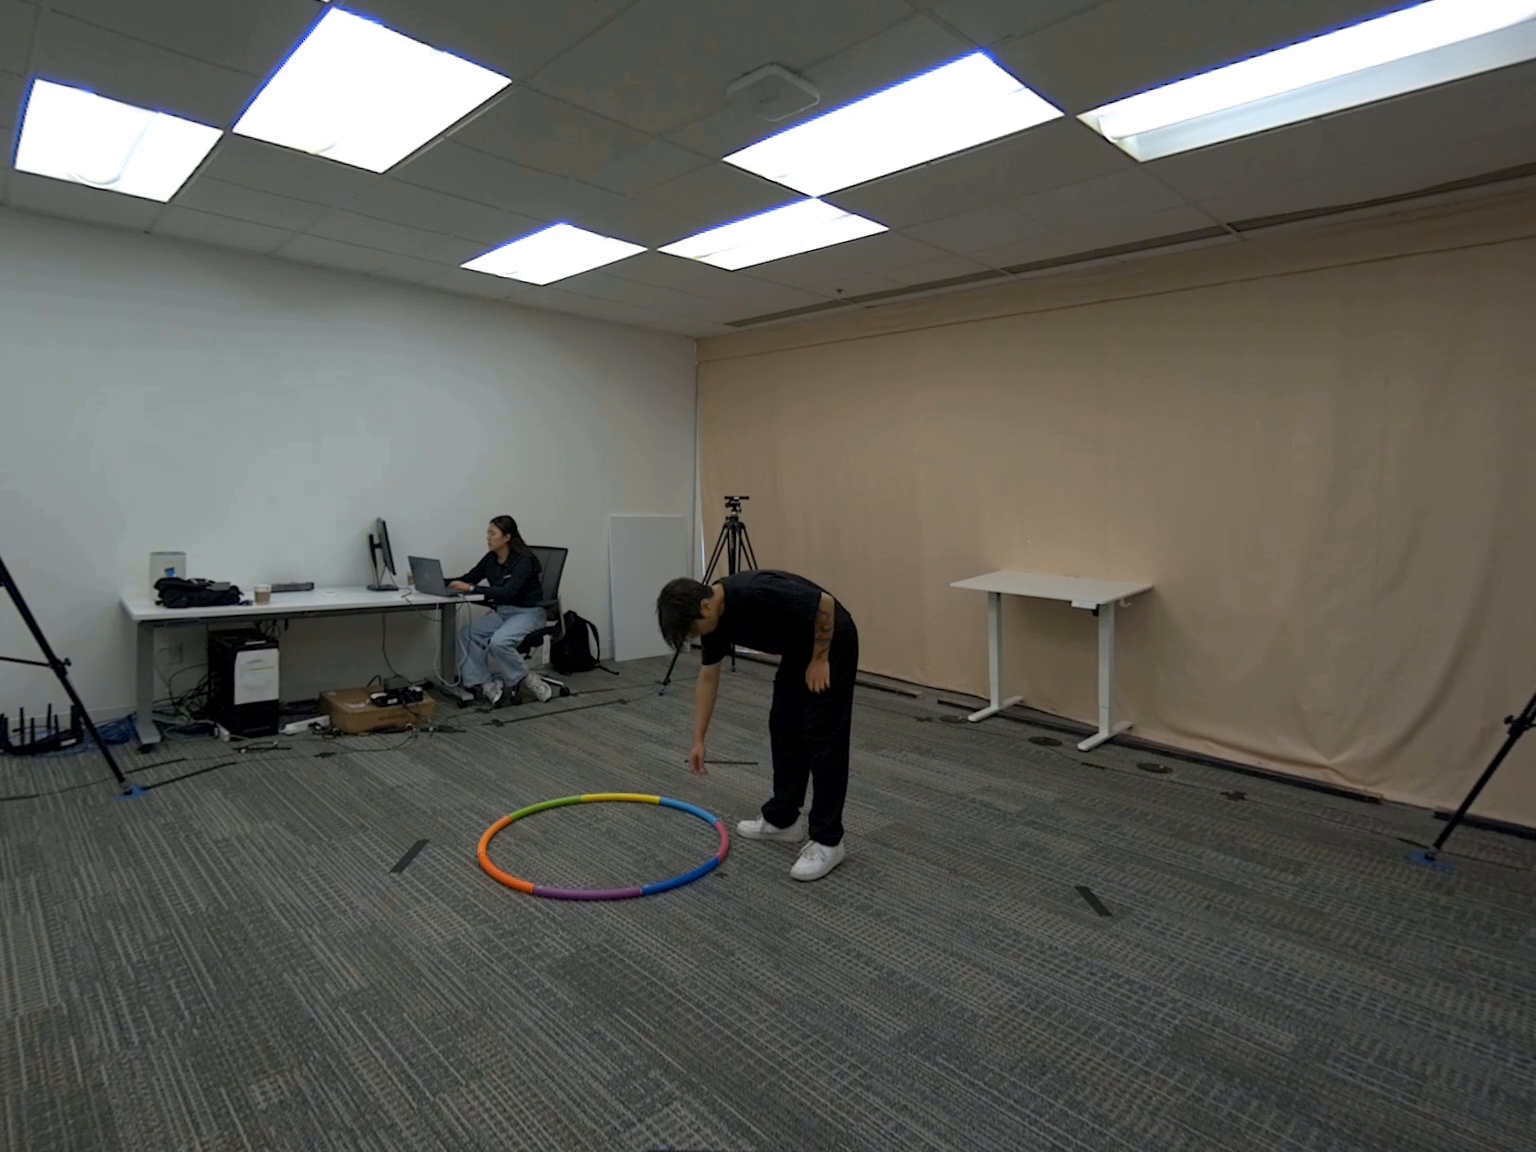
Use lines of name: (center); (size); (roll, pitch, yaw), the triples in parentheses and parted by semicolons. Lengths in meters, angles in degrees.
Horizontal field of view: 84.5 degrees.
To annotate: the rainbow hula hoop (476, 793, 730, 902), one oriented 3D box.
rainbow hula hoop: (-0.643, 1.039, 3.360); (0.978, 0.035, 0.982); (2, 5, -1)
